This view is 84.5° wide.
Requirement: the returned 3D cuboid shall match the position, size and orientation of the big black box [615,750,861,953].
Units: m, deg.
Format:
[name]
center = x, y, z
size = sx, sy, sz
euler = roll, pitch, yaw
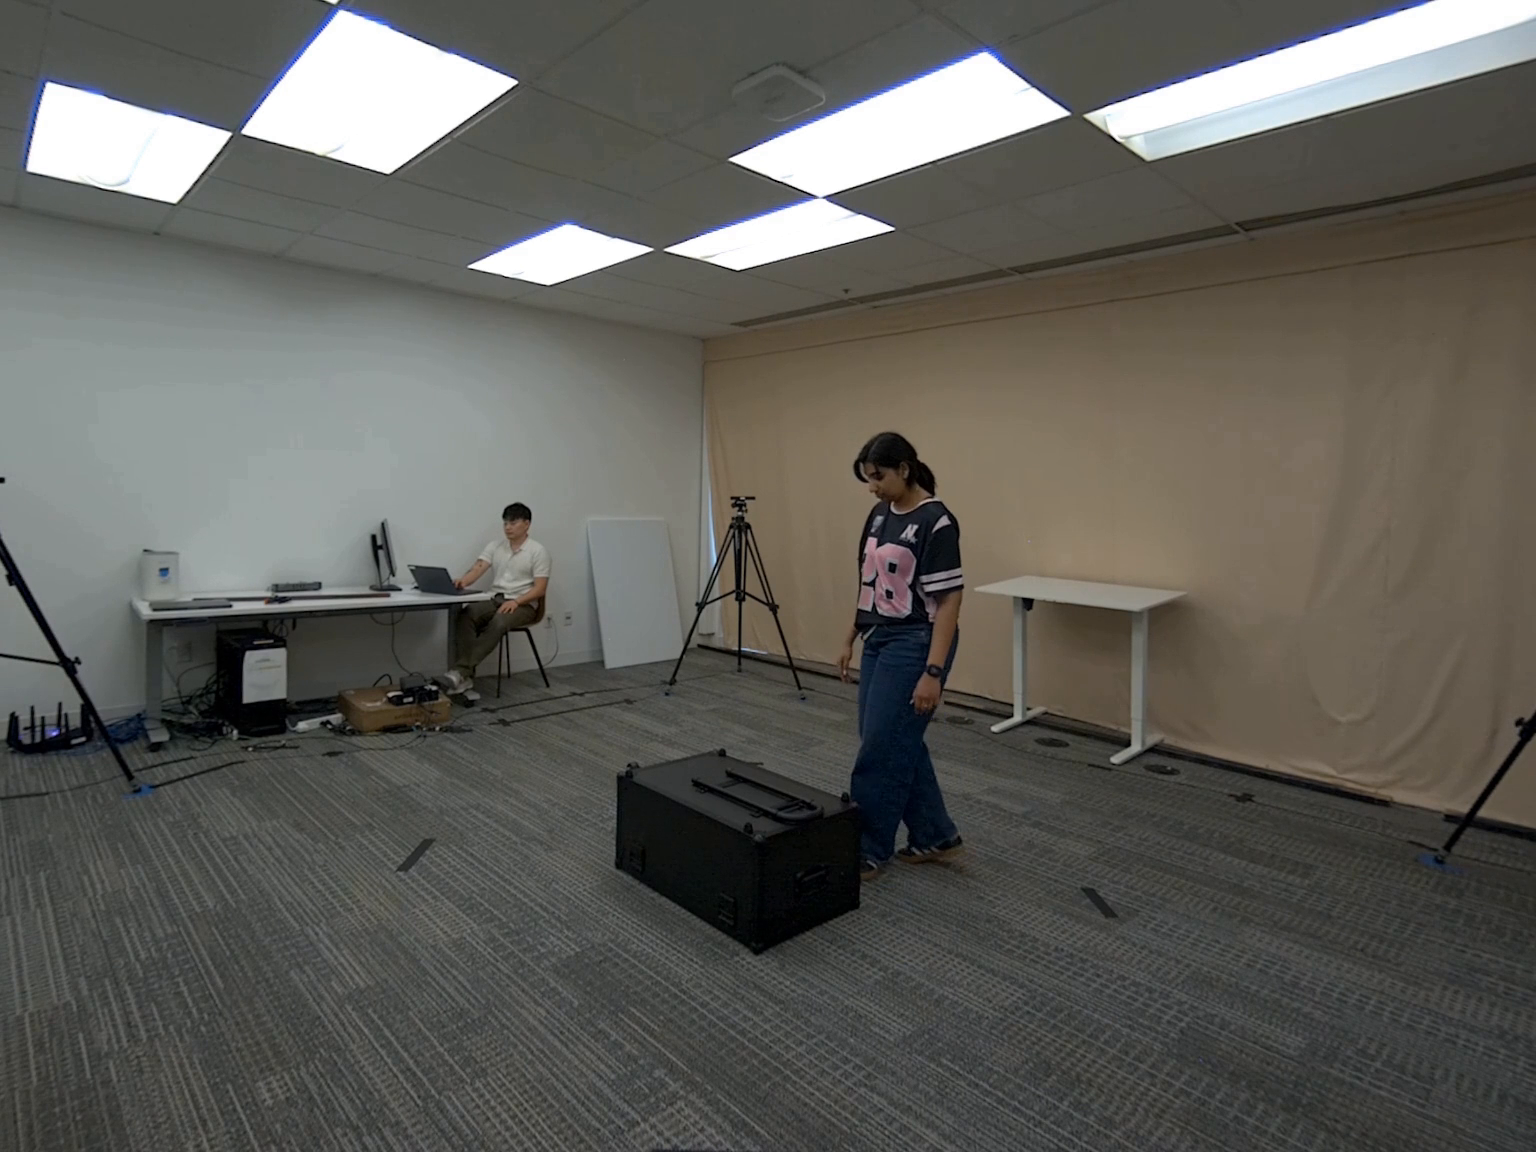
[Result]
[big black box]
center = -0.162, 0.928, 3.019
size = 0.512, 0.384, 0.891
euler = -4, 7, -42
